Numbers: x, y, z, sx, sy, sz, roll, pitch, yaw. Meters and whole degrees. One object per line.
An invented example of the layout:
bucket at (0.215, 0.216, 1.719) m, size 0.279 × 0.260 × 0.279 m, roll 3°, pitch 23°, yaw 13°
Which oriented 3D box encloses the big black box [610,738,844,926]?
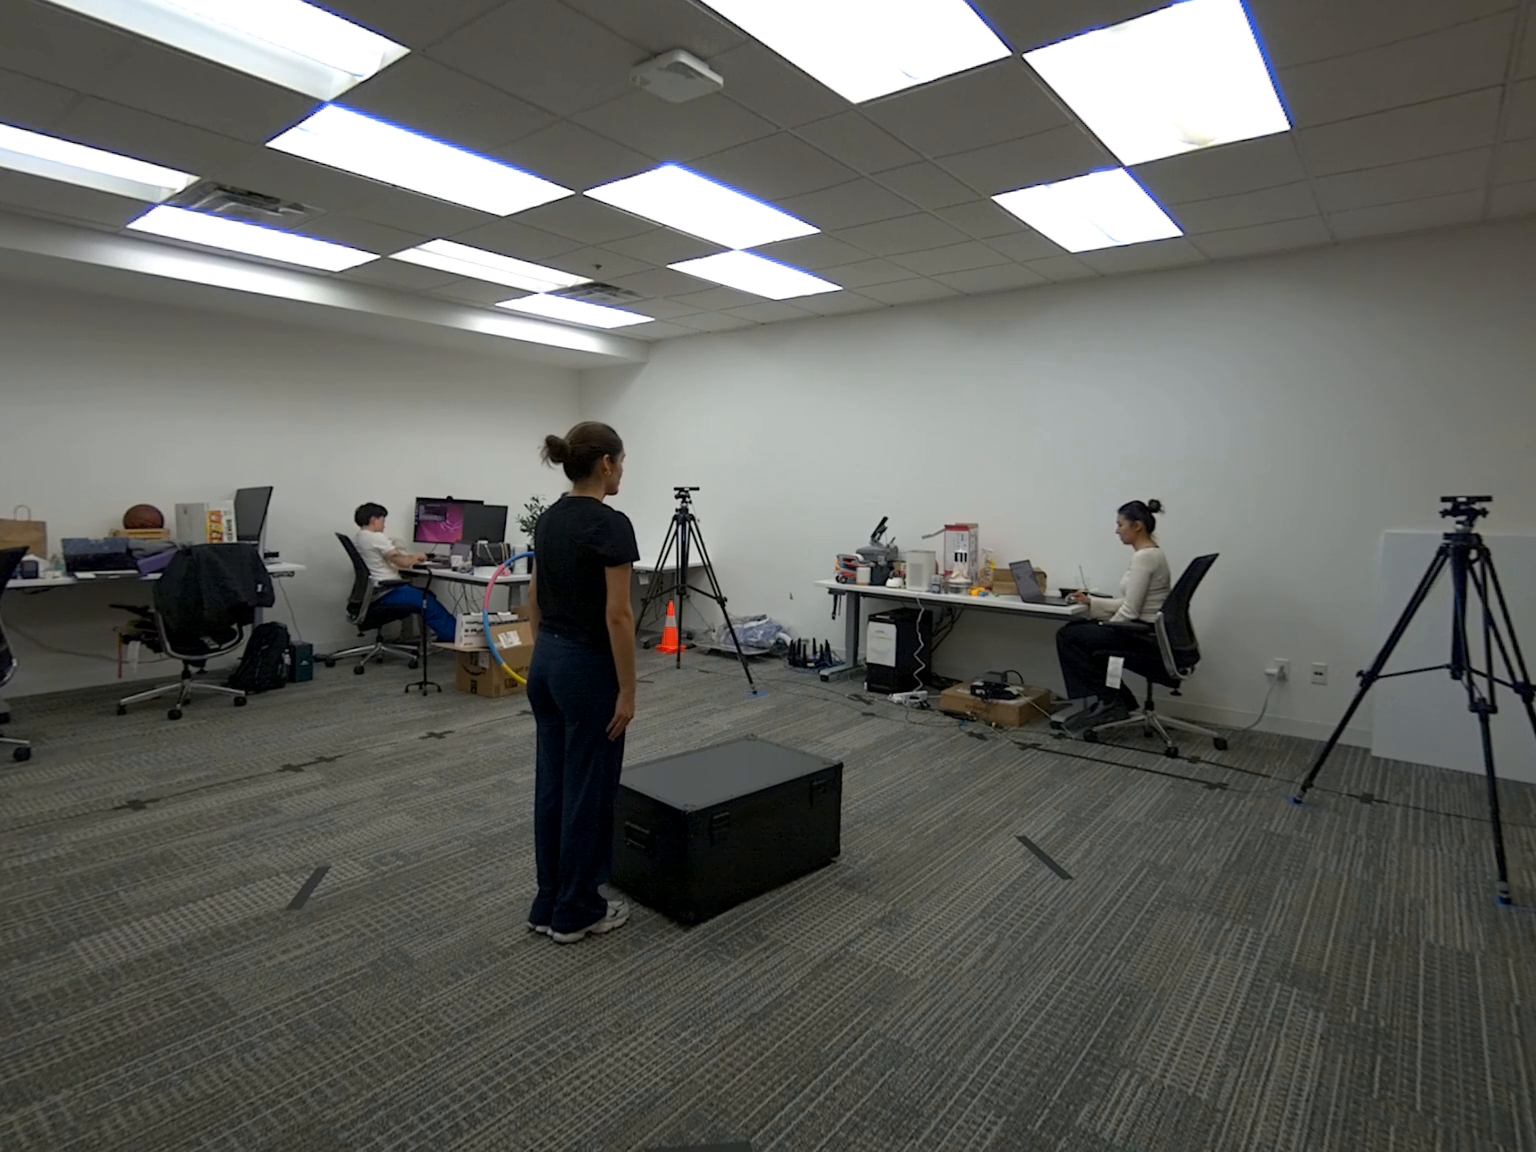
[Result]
big black box at (-0.166, 0.880, 3.085) m, size 0.835 × 0.395 × 0.539 m, roll -3°, pitch 6°, yaw -44°
